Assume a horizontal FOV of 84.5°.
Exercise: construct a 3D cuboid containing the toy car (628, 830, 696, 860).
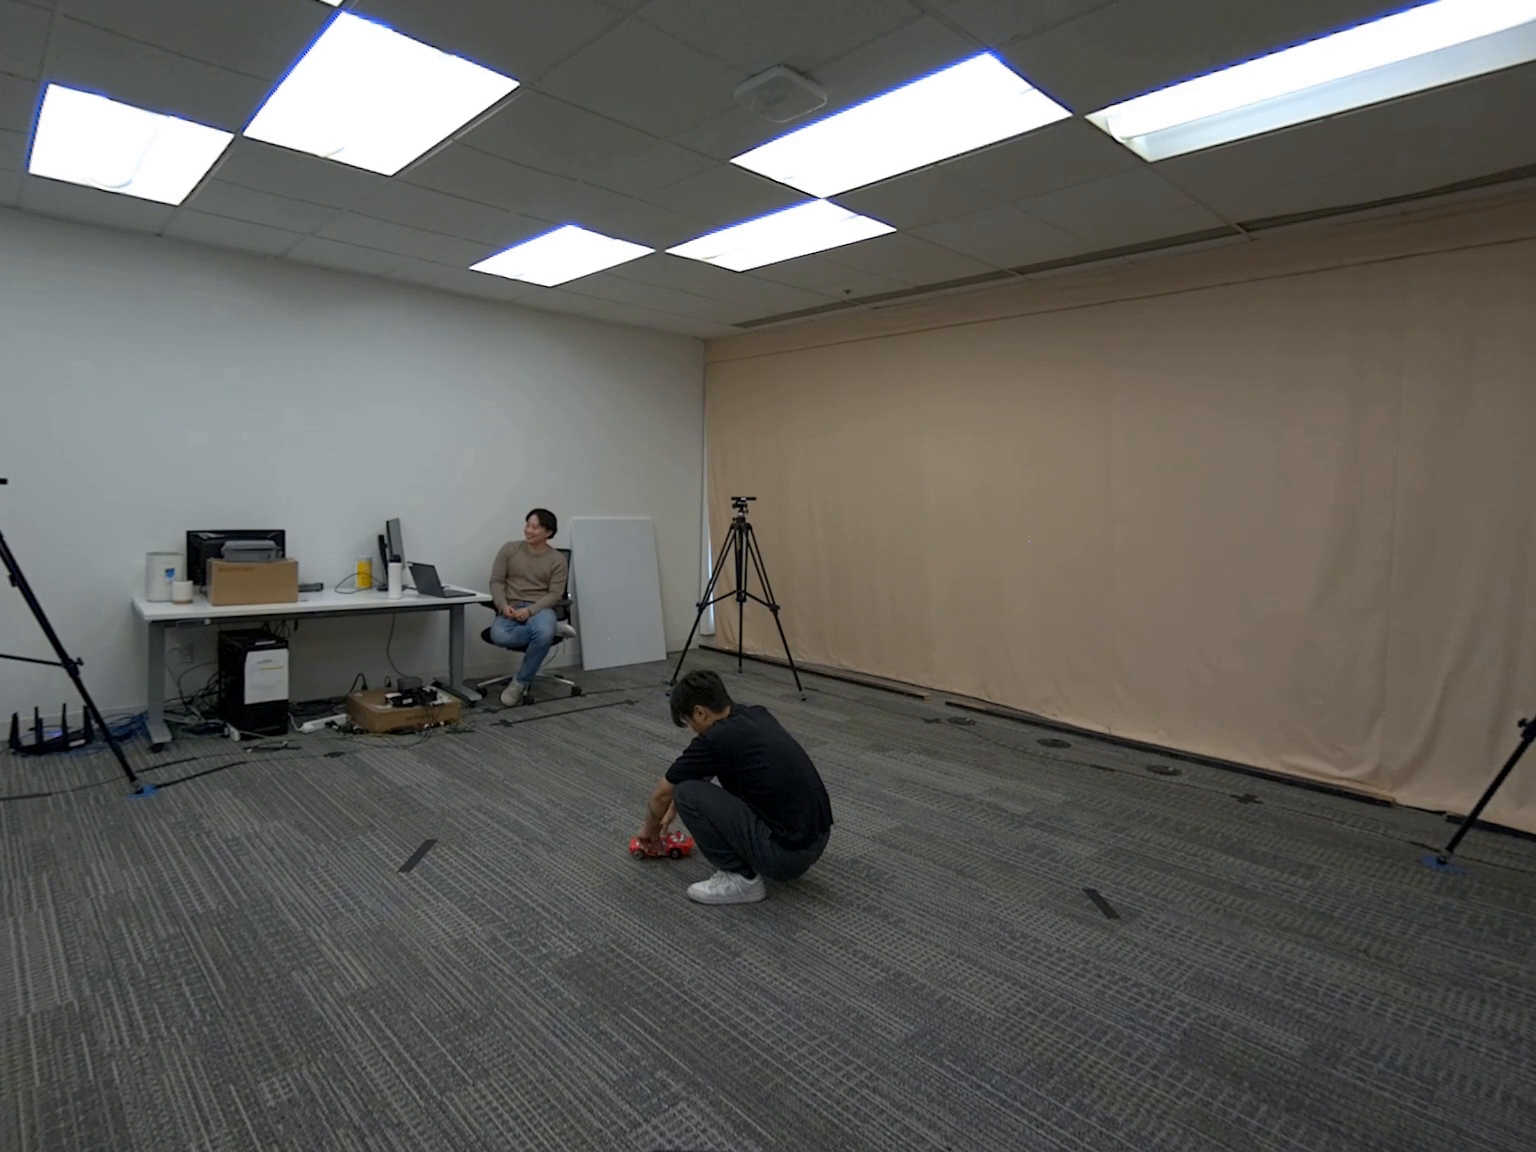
[{"bbox_3d":[-0.412,1.047,3.284,0.253,0.082,0.132,-13,9,-6],"label":"toy car"}]
